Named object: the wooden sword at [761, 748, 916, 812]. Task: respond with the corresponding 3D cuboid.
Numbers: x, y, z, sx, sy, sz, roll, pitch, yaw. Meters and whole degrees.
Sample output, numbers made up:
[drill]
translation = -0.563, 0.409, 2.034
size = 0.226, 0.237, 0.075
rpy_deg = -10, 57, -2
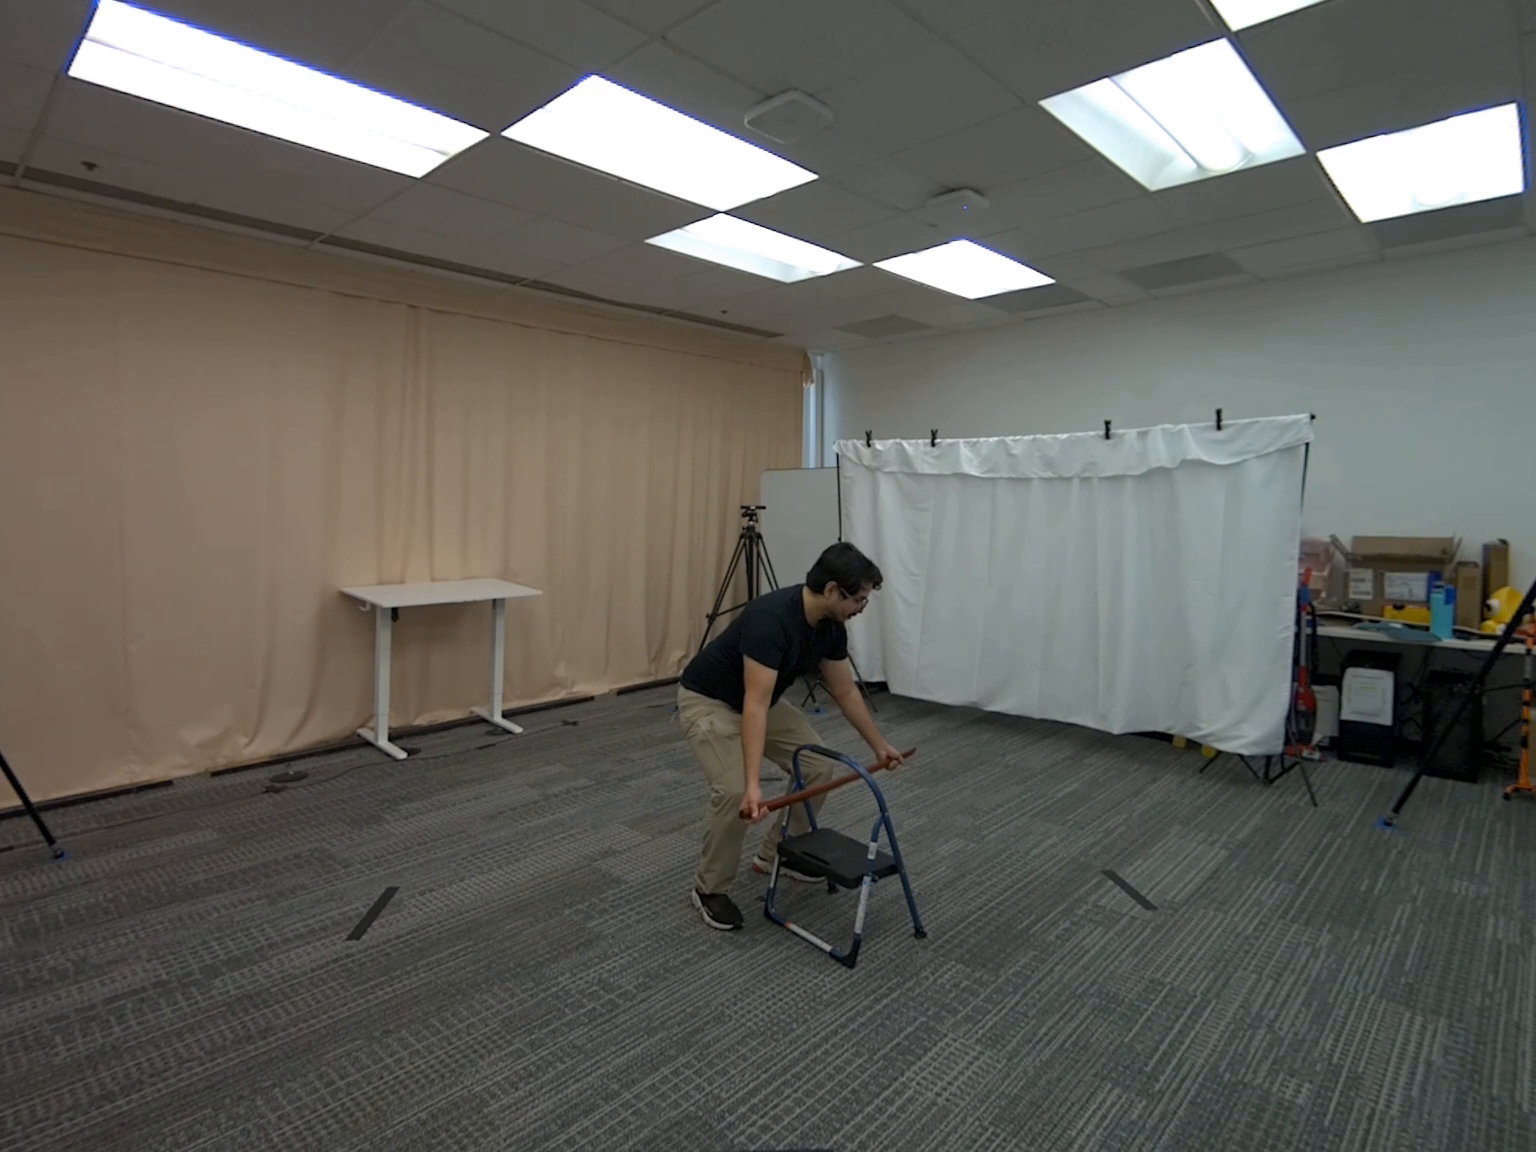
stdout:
[wooden sword]
translation = 0.264, 0.695, 2.881
size = 0.053, 0.024, 0.993
rpy_deg = 0, 3, 43
